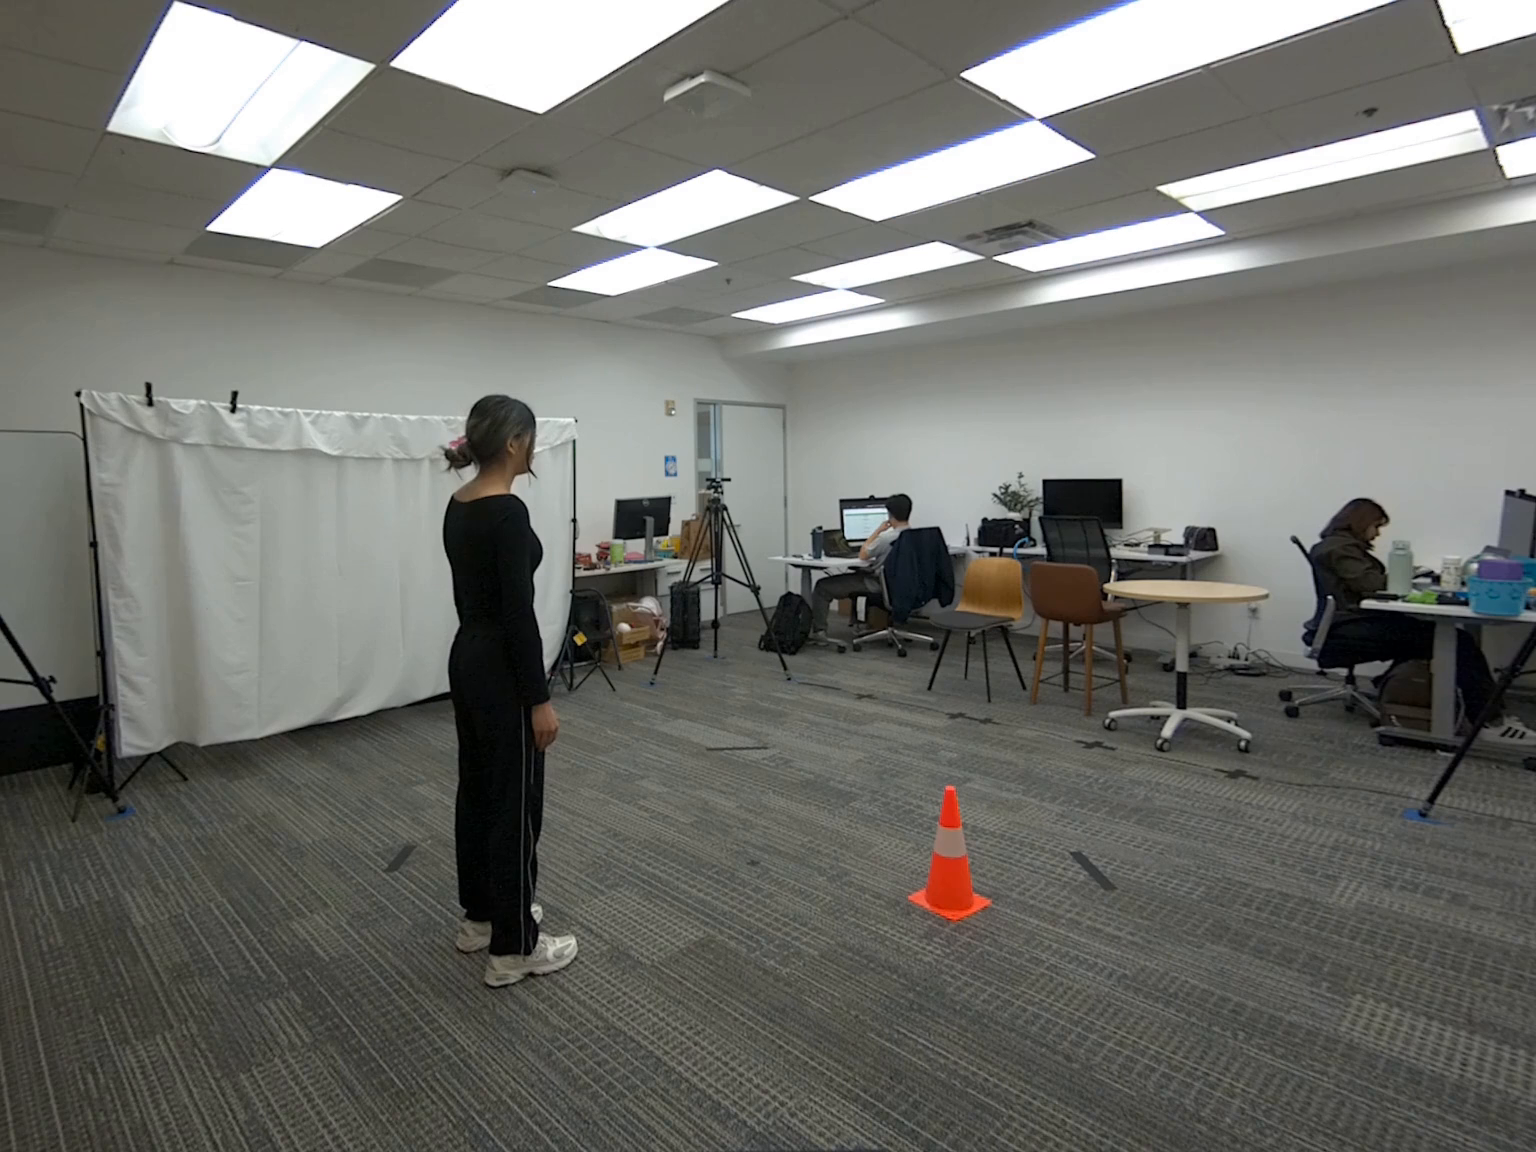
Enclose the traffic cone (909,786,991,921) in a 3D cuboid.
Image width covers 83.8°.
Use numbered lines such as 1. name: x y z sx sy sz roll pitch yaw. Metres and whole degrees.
1. traffic cone: 0.600 0.883 2.789 0.200 0.382 0.209 -5 6 -39
